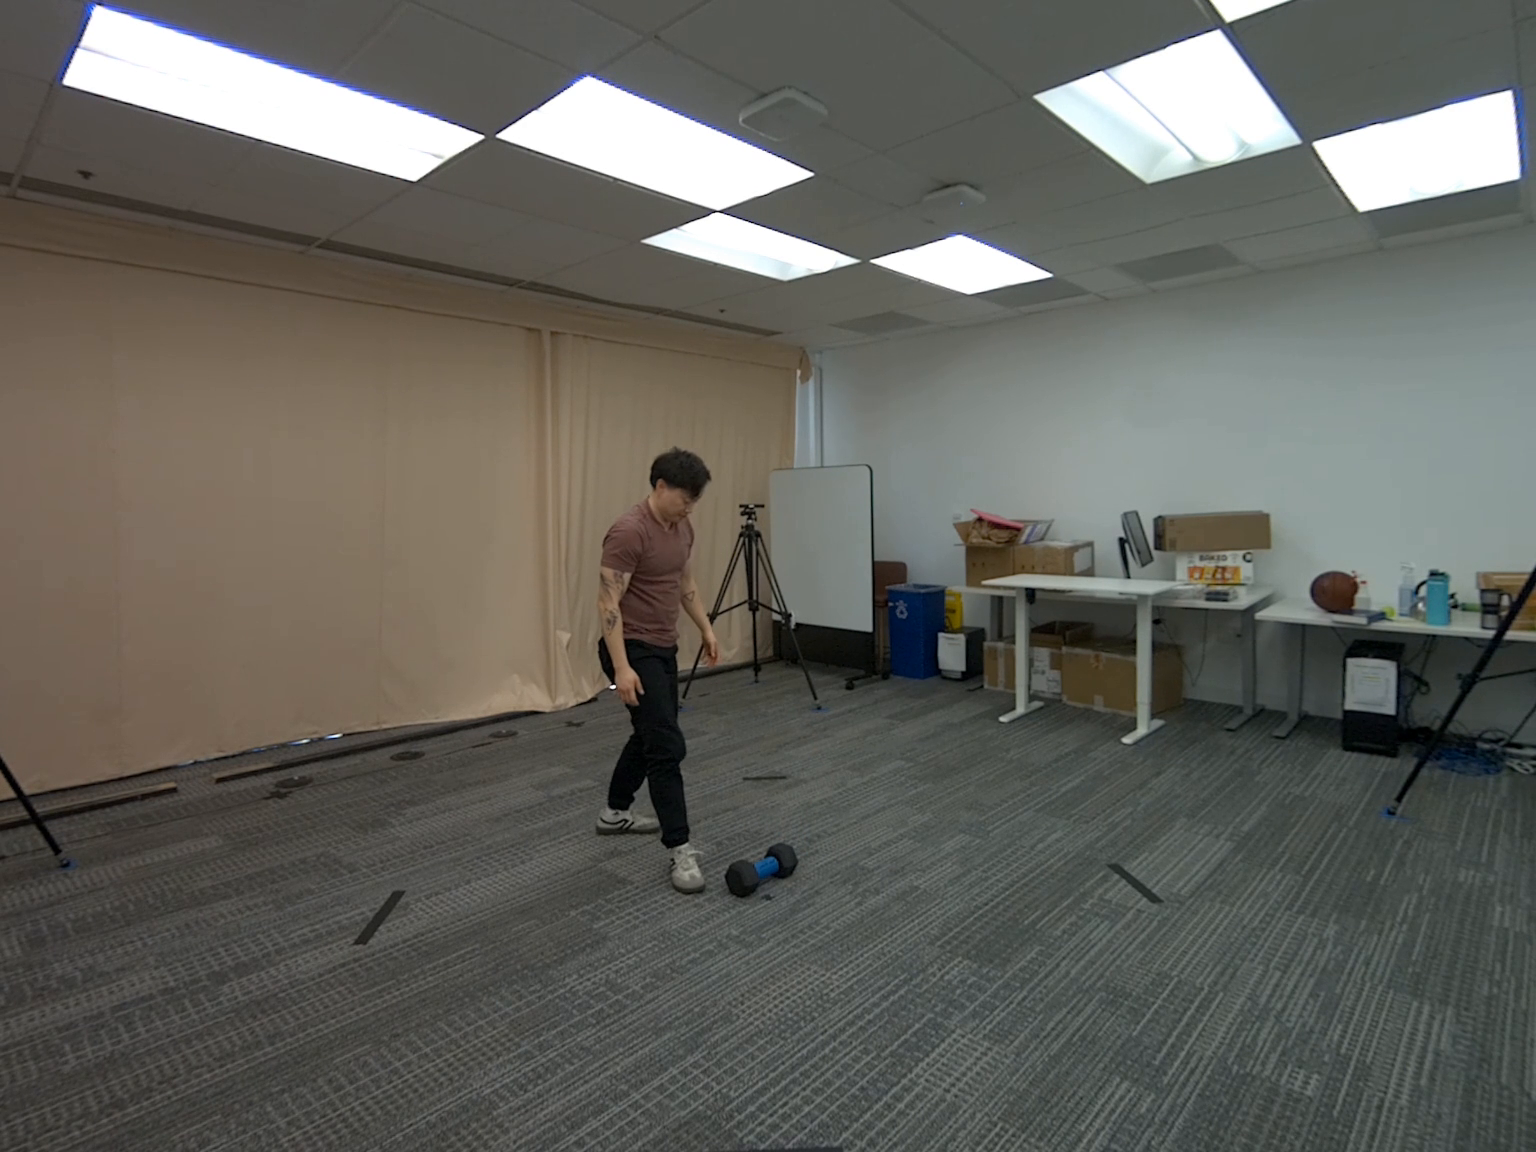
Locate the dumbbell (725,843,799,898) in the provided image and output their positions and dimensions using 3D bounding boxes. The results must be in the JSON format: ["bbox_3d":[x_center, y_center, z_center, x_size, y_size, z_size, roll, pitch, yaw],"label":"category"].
[{"bbox_3d":[-0.018,1.076,3.087,0.285,0.125,0.110,-6,-21,-45],"label":"dumbbell"}]
